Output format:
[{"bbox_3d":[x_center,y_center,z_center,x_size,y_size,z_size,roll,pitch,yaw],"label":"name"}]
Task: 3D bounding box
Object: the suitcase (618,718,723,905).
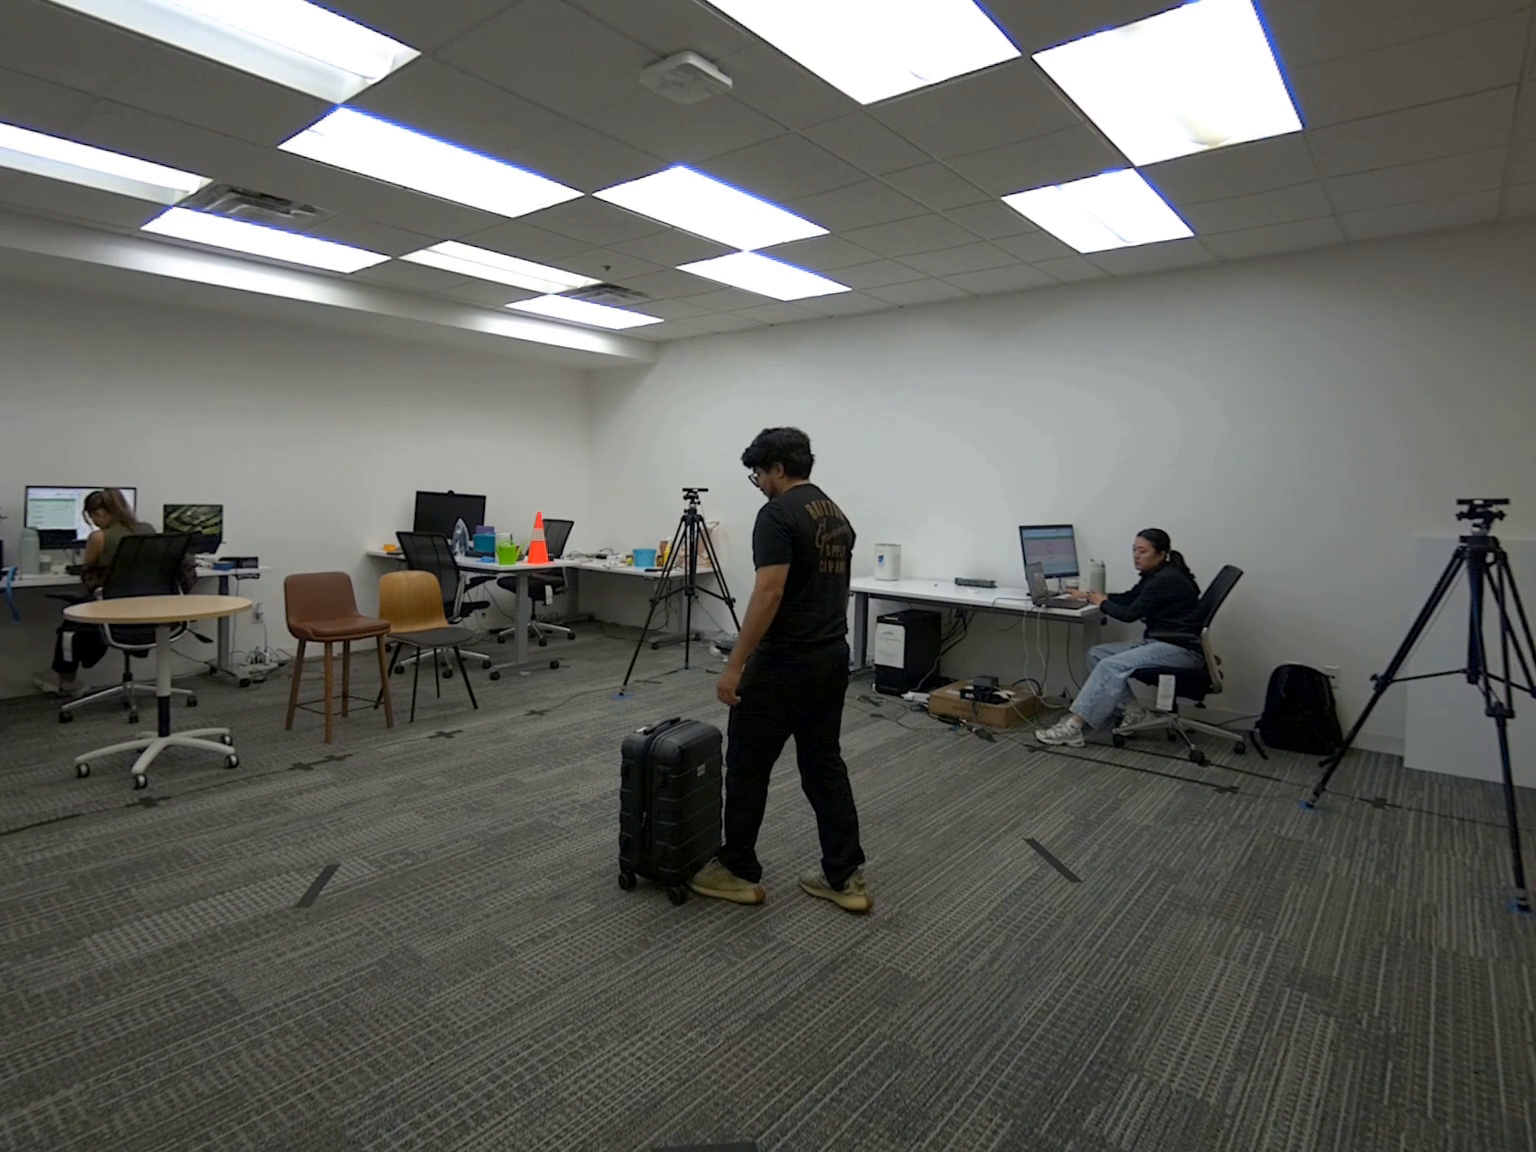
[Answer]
[{"bbox_3d":[-0.343,0.796,3.030,0.255,0.548,0.366,1,3,27],"label":"suitcase"}]
